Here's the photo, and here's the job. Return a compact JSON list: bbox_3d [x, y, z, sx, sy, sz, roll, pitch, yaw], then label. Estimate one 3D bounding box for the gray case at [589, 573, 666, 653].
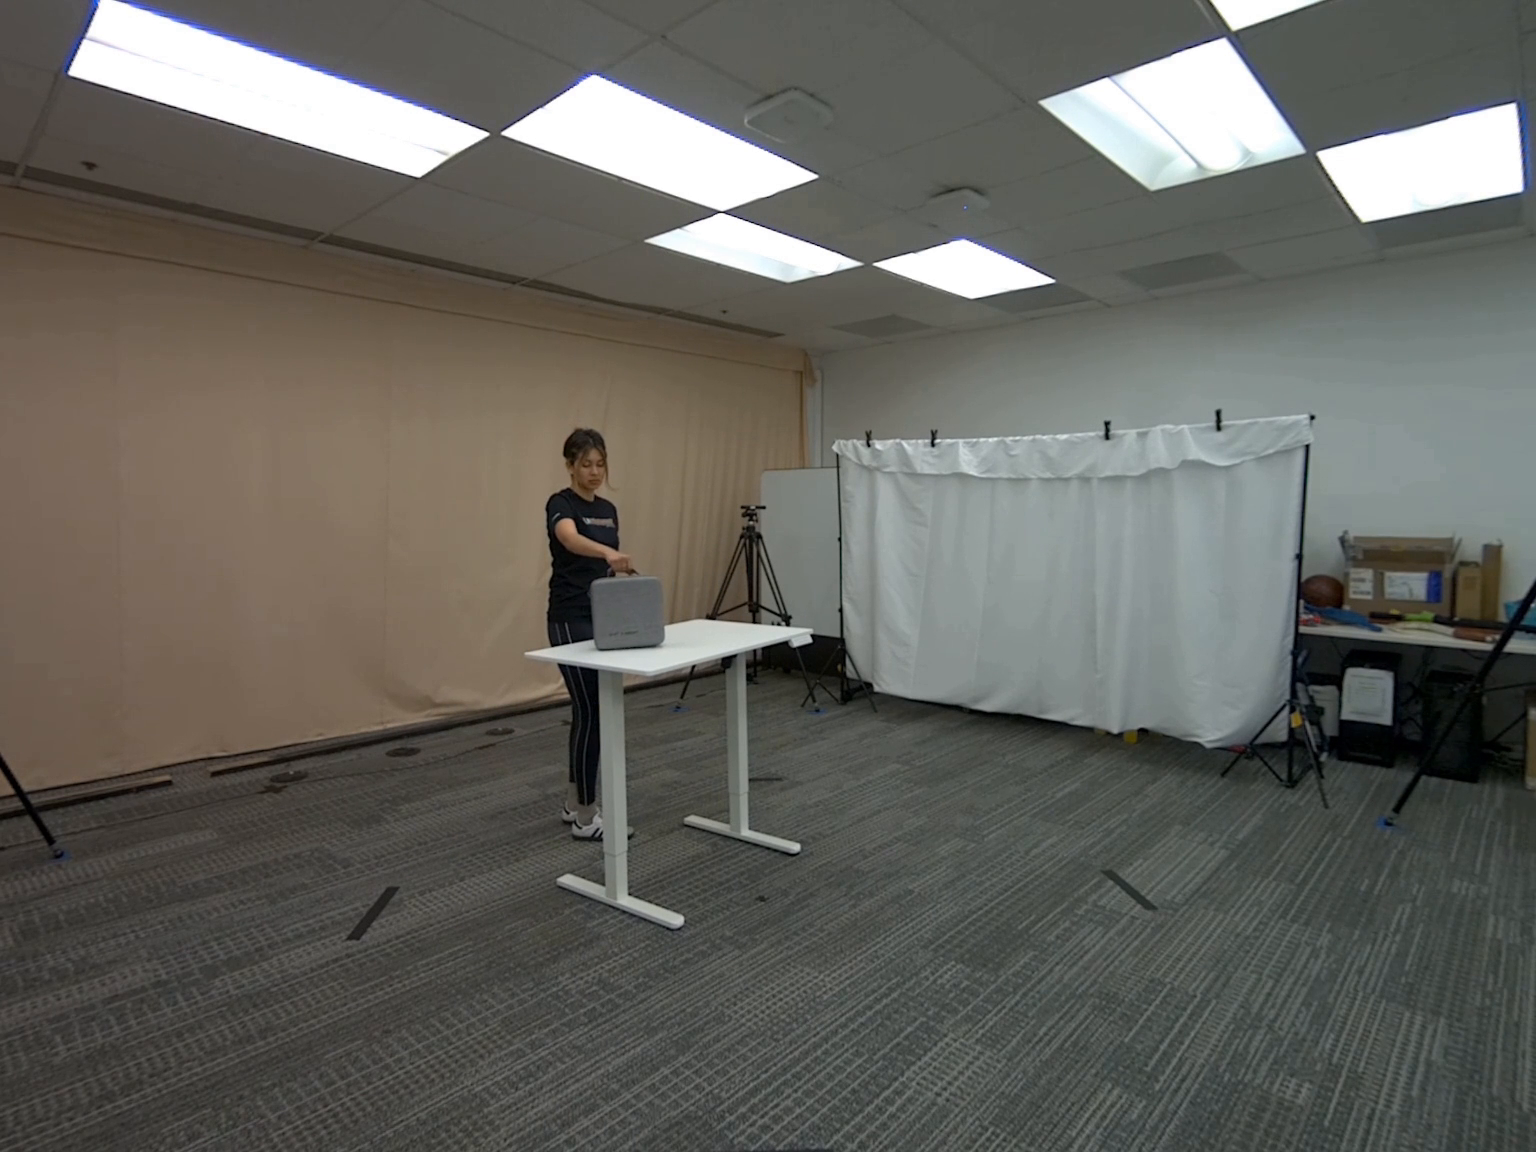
[{"bbox_3d":[-0.513,0.129,3.044,0.253,0.261,0.106,-4,-2,-14],"label":"gray case"}]
